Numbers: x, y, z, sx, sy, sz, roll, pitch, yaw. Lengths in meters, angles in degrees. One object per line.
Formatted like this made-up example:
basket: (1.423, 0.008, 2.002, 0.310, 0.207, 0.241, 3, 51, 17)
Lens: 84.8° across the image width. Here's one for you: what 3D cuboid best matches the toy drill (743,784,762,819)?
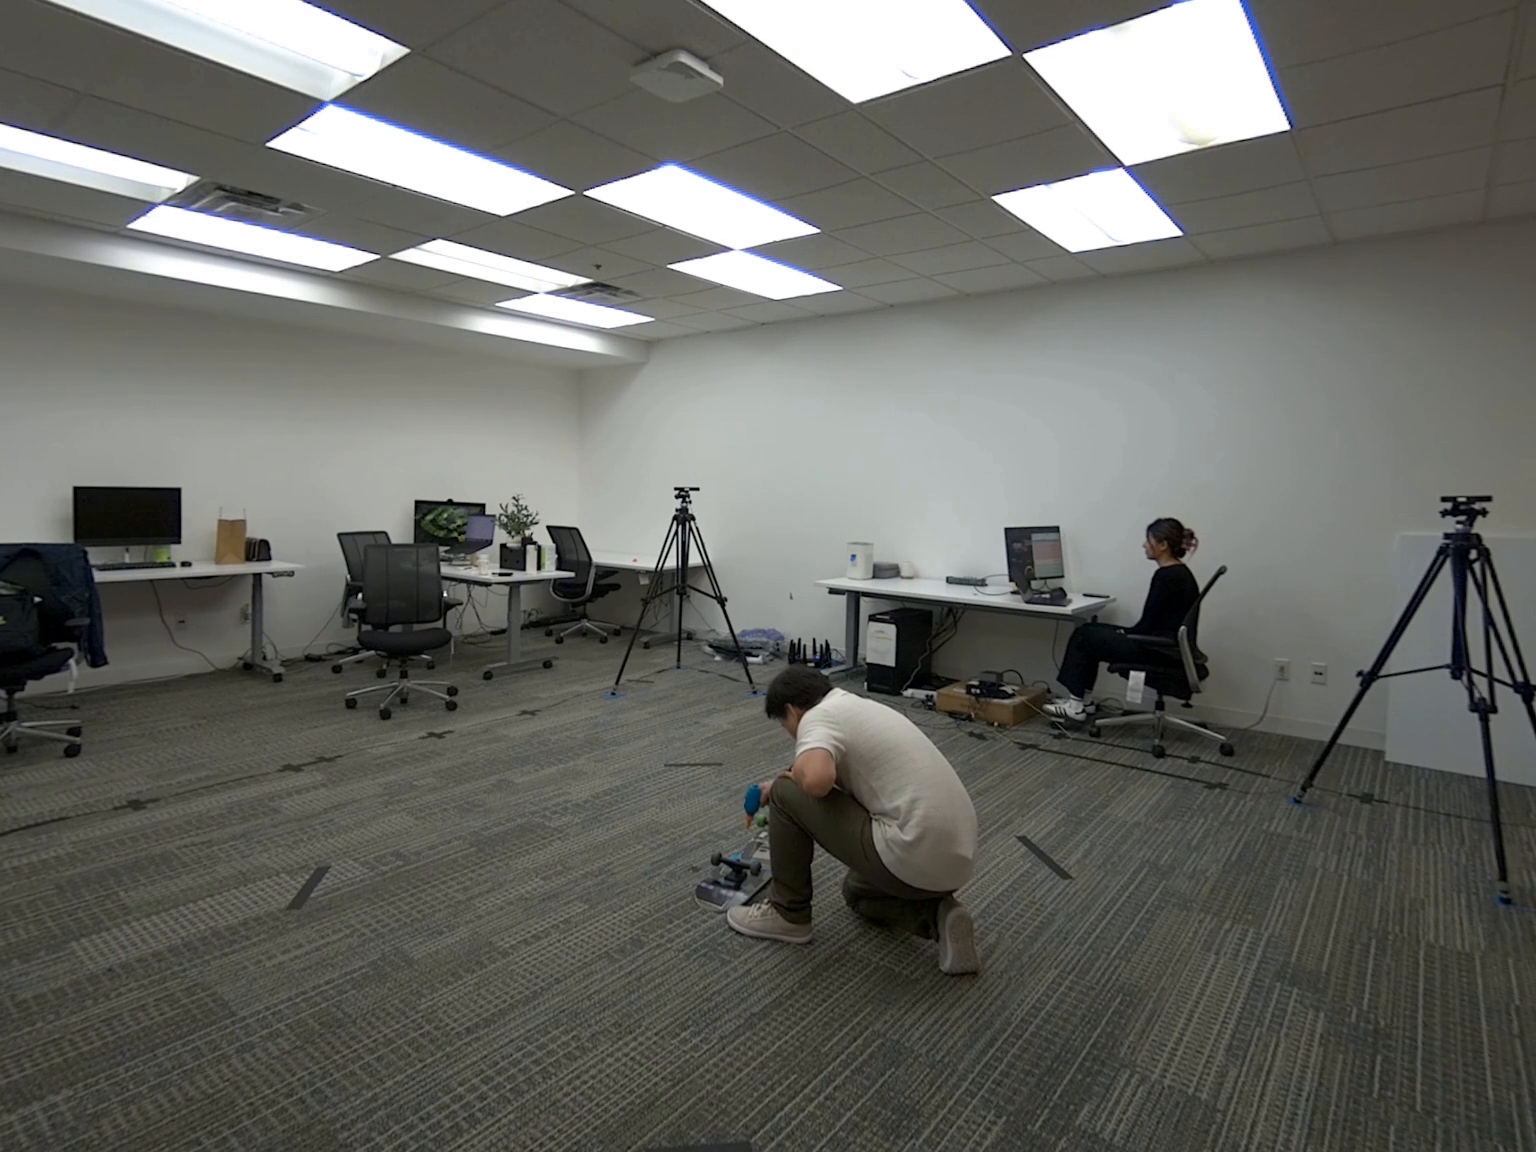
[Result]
toy drill: (-0.031, 0.838, 3.060, 0.146, 0.170, 0.061, 9, 0, -2)
